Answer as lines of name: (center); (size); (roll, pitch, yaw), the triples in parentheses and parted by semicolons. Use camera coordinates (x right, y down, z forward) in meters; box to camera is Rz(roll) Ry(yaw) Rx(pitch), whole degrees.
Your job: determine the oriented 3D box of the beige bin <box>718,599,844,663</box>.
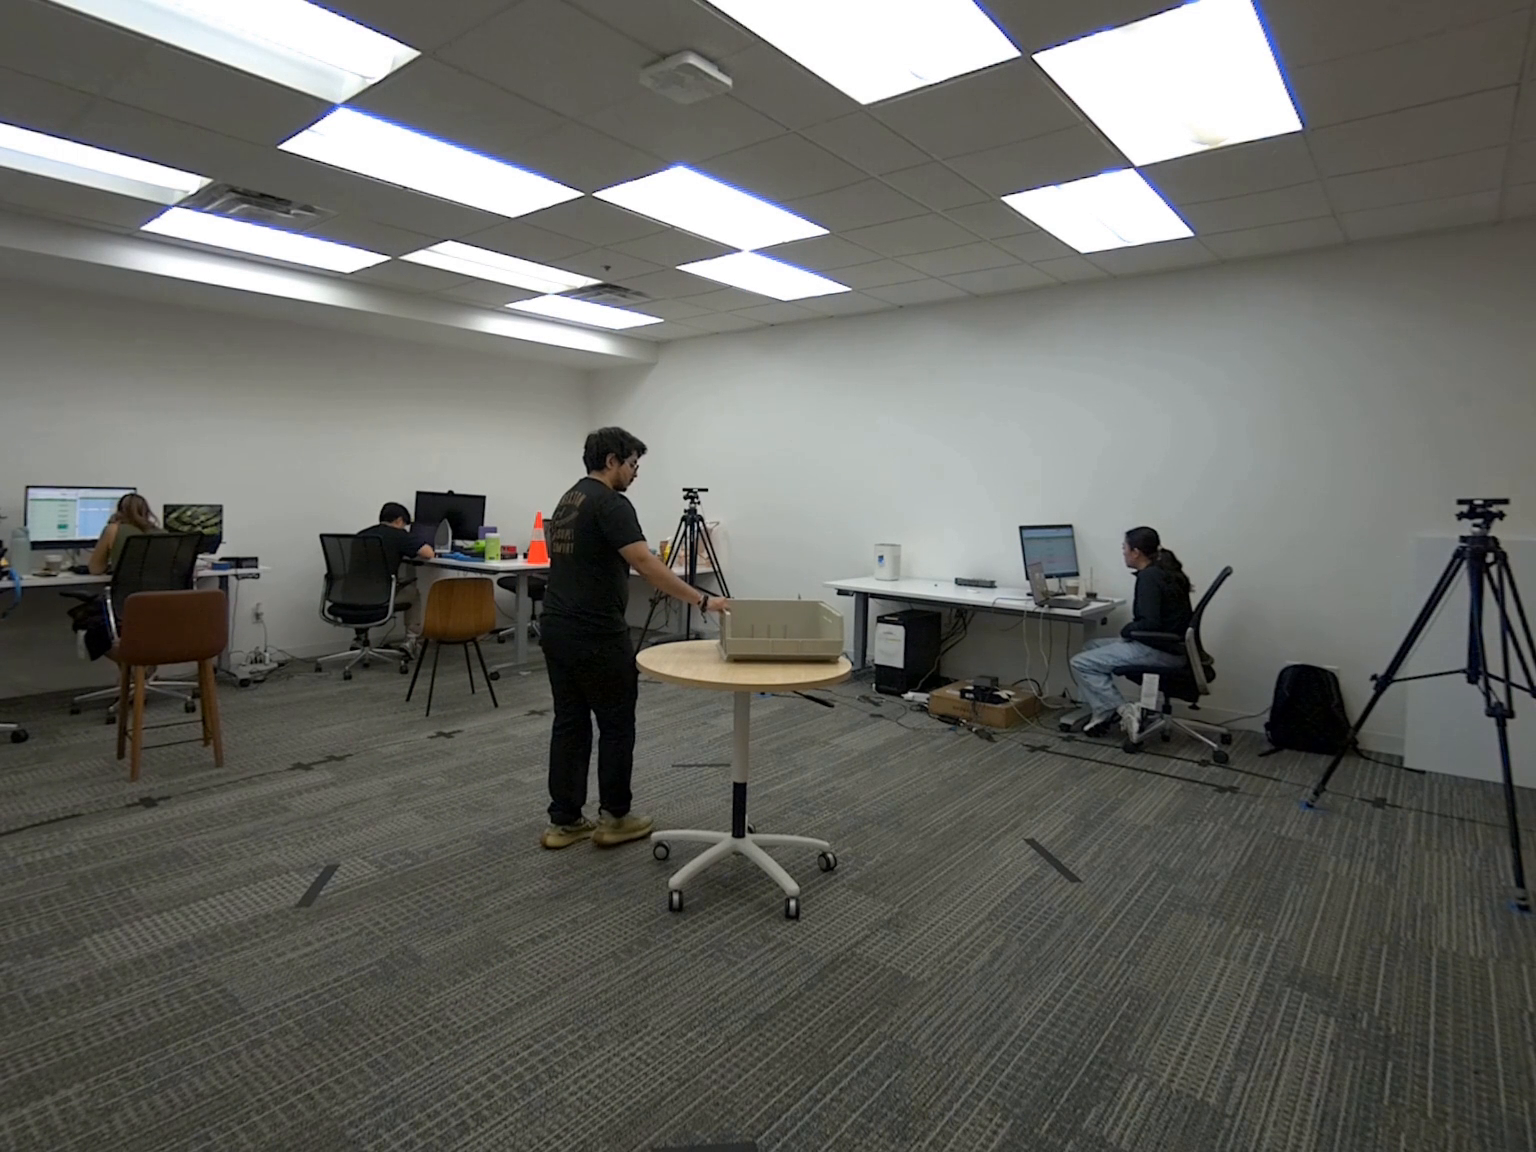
beige bin: (0.026, 0.198, 3.131); (0.420, 0.188, 0.381); (0, 5, -6)
